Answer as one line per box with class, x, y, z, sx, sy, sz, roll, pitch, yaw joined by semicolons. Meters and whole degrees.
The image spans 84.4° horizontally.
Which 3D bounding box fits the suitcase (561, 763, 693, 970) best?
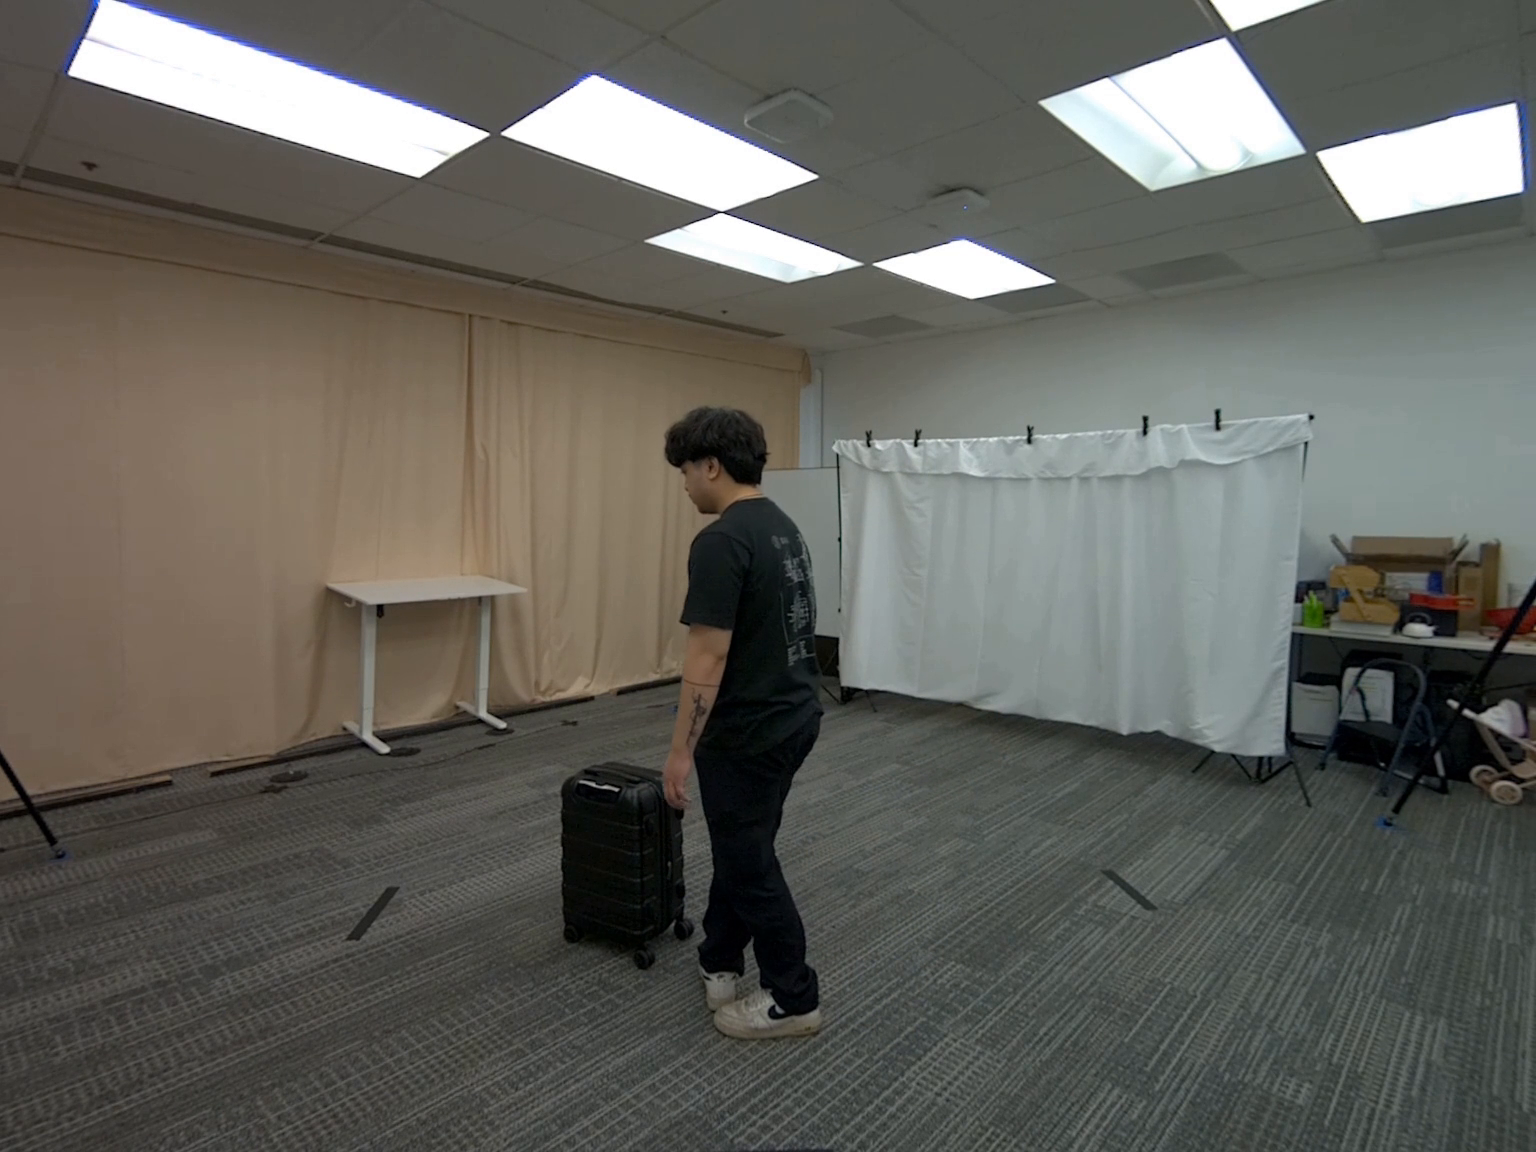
suitcase;-0.471;0.895;2.711;0.386;0.548;0.241;0;2;31
